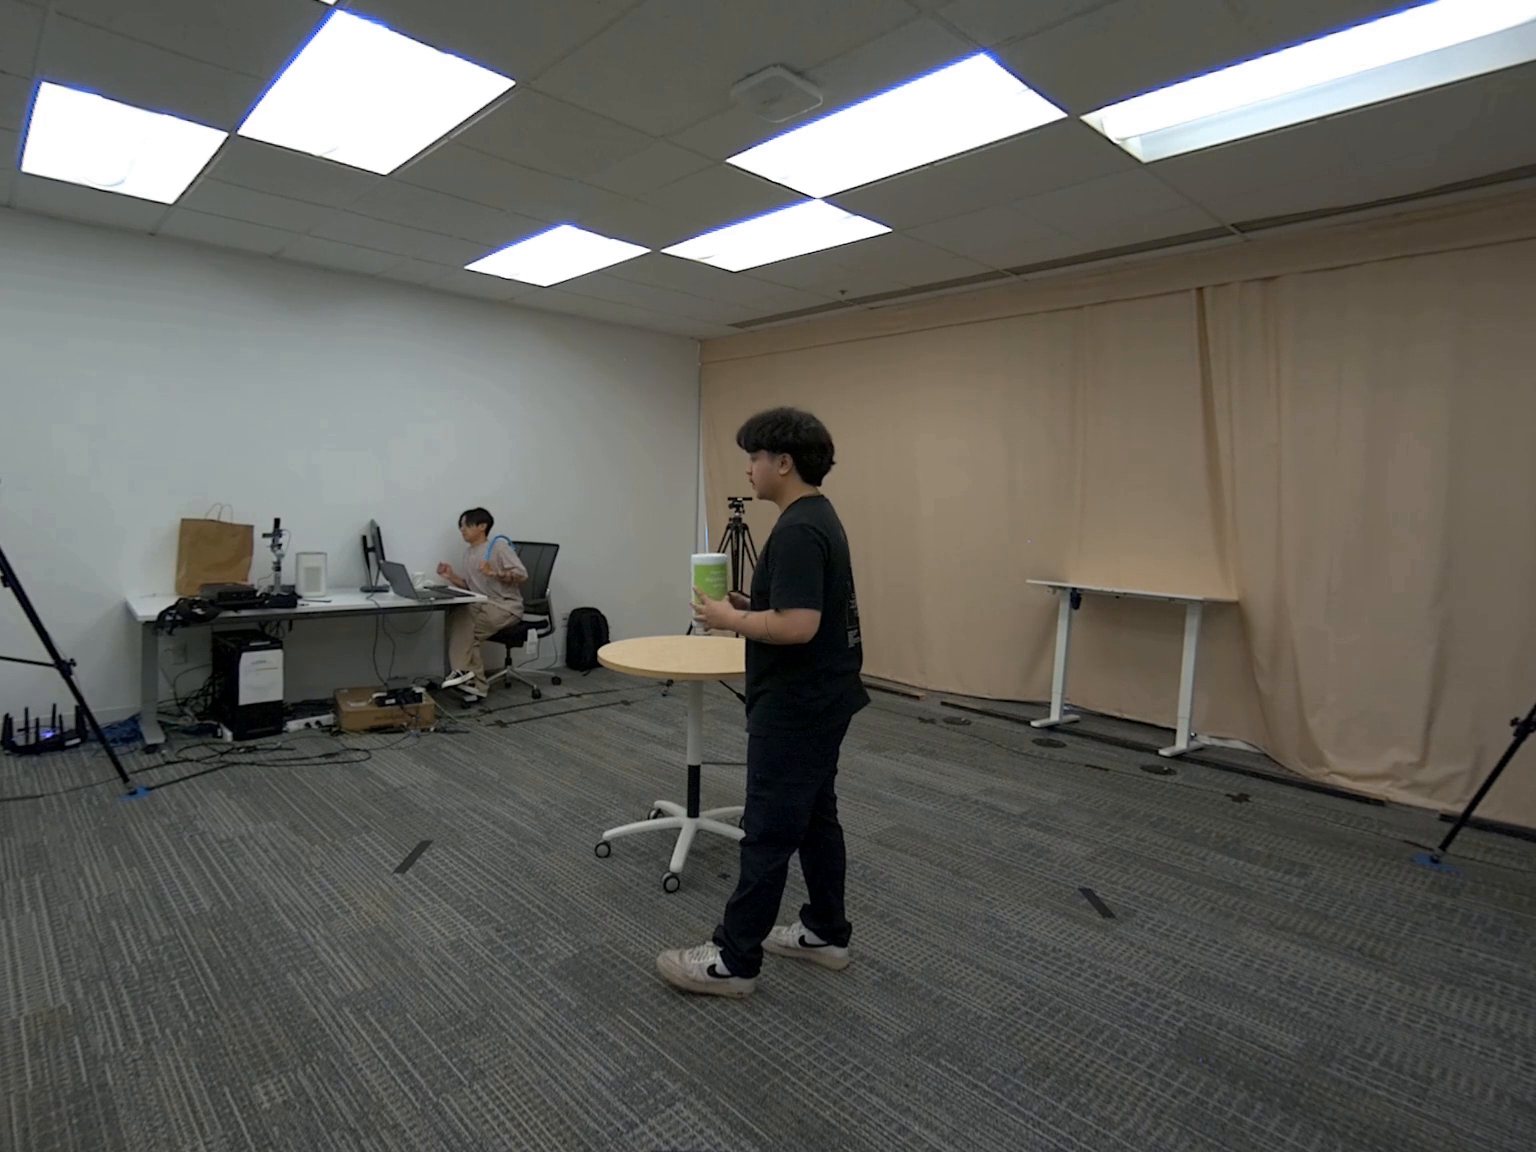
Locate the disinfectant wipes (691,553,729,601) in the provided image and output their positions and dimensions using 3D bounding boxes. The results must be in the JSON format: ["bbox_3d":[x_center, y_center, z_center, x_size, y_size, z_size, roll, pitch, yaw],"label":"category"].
[{"bbox_3d":[-0.174,0.043,2.510,0.118,0.217,0.118,-1,5,-1],"label":"disinfectant wipes"}]
